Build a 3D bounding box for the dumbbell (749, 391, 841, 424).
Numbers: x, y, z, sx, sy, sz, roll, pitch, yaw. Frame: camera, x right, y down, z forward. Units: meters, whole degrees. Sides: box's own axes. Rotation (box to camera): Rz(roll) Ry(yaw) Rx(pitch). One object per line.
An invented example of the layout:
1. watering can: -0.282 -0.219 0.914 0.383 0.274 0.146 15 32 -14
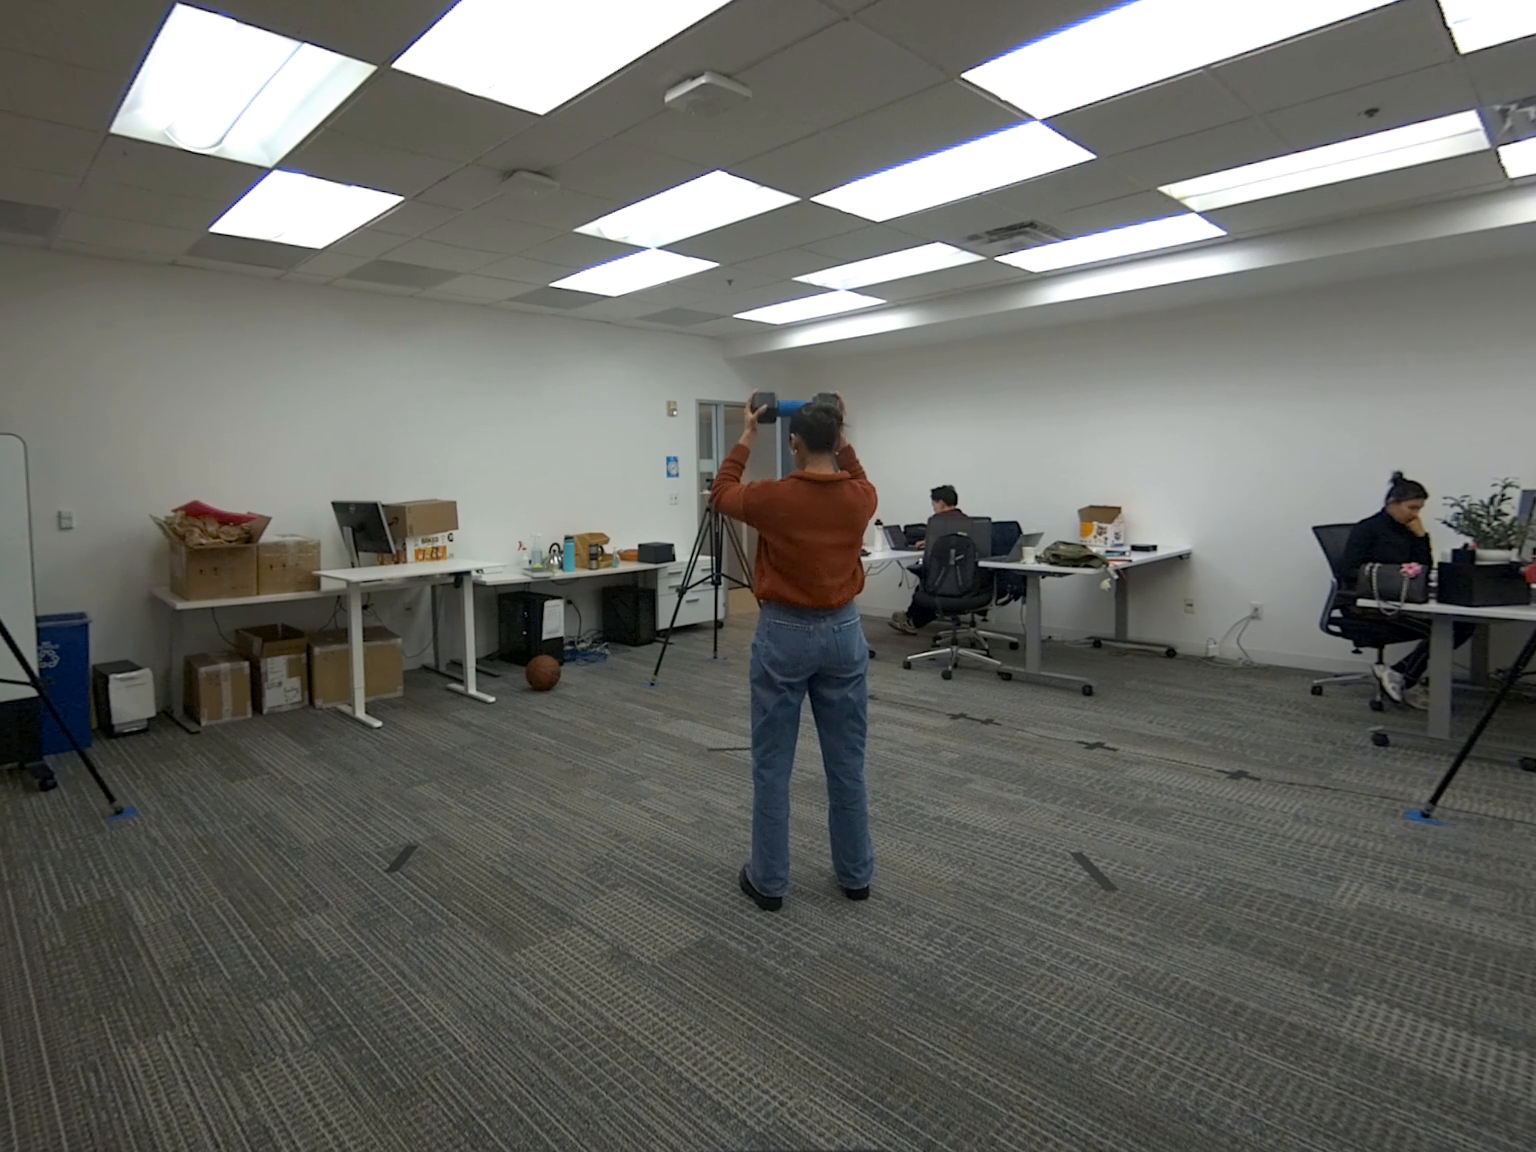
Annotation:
1. dumbbell: 0.100 -0.575 2.951 0.292 0.120 0.112 0 35 -6
